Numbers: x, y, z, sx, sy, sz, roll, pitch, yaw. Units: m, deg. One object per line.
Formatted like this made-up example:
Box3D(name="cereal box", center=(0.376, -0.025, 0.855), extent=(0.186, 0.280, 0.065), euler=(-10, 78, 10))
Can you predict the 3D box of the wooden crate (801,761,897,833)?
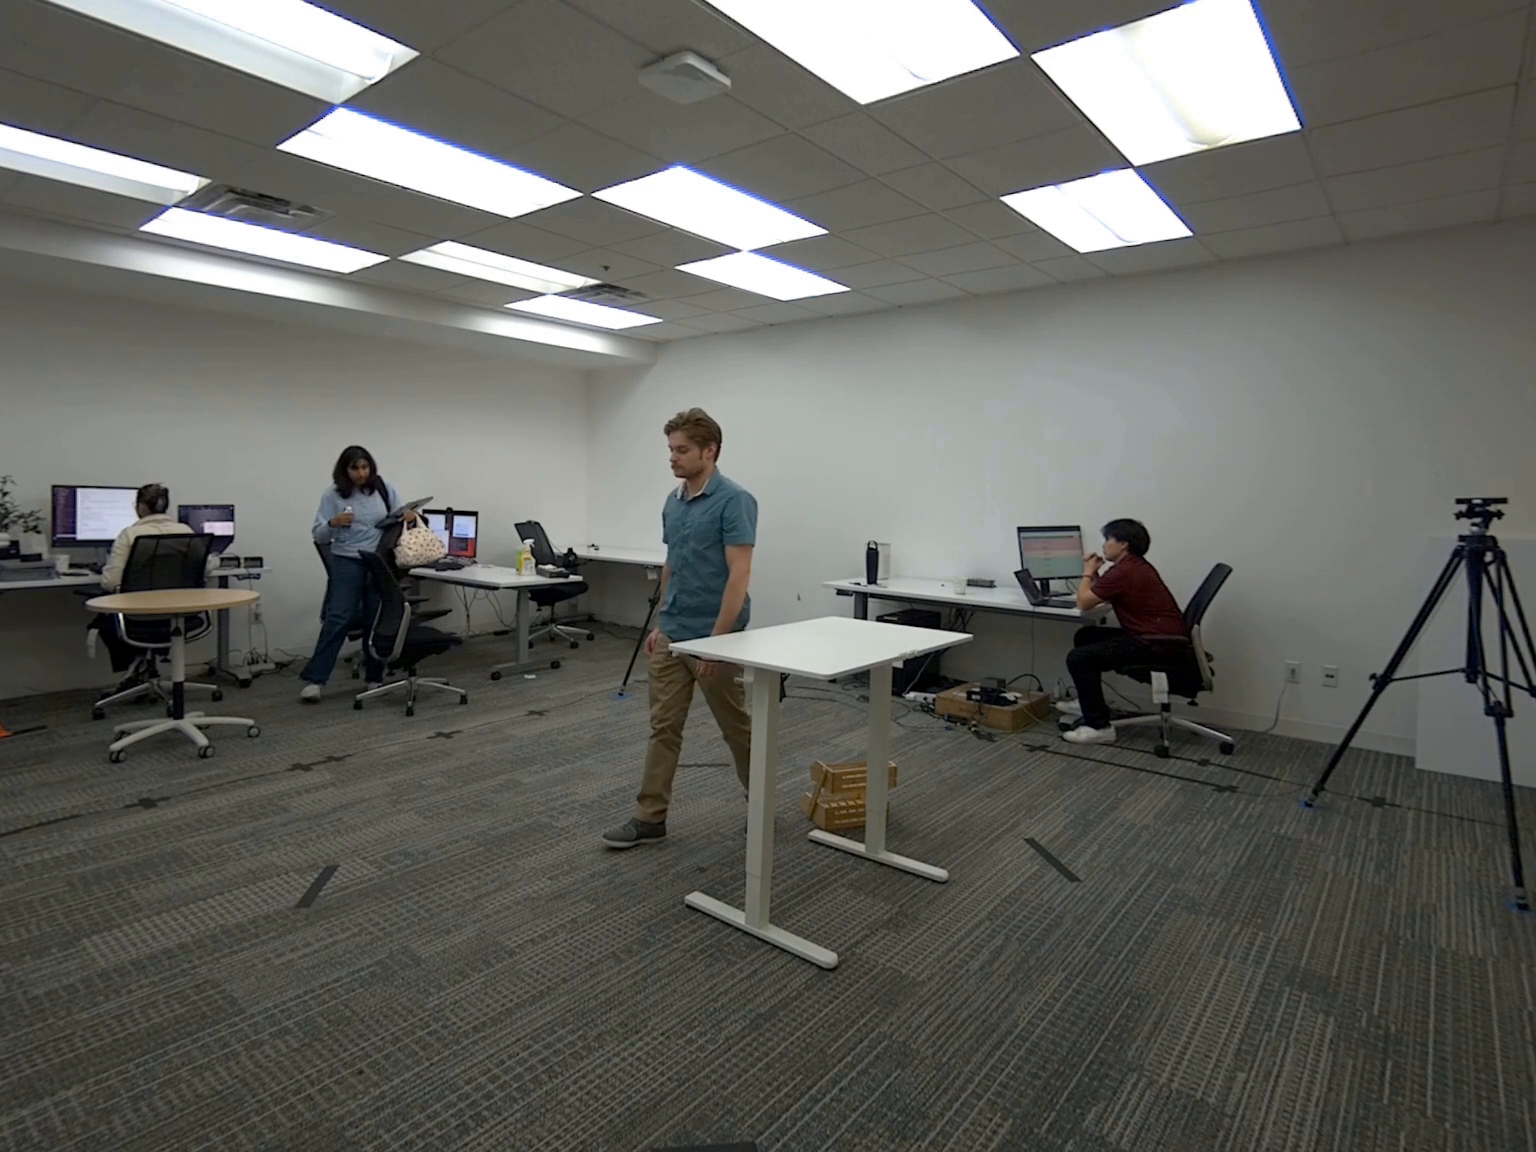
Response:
Box3D(name="wooden crate", center=(0.325, 0.896, 3.632), extent=(0.317, 0.272, 0.310), euler=(-1, 6, -23))
